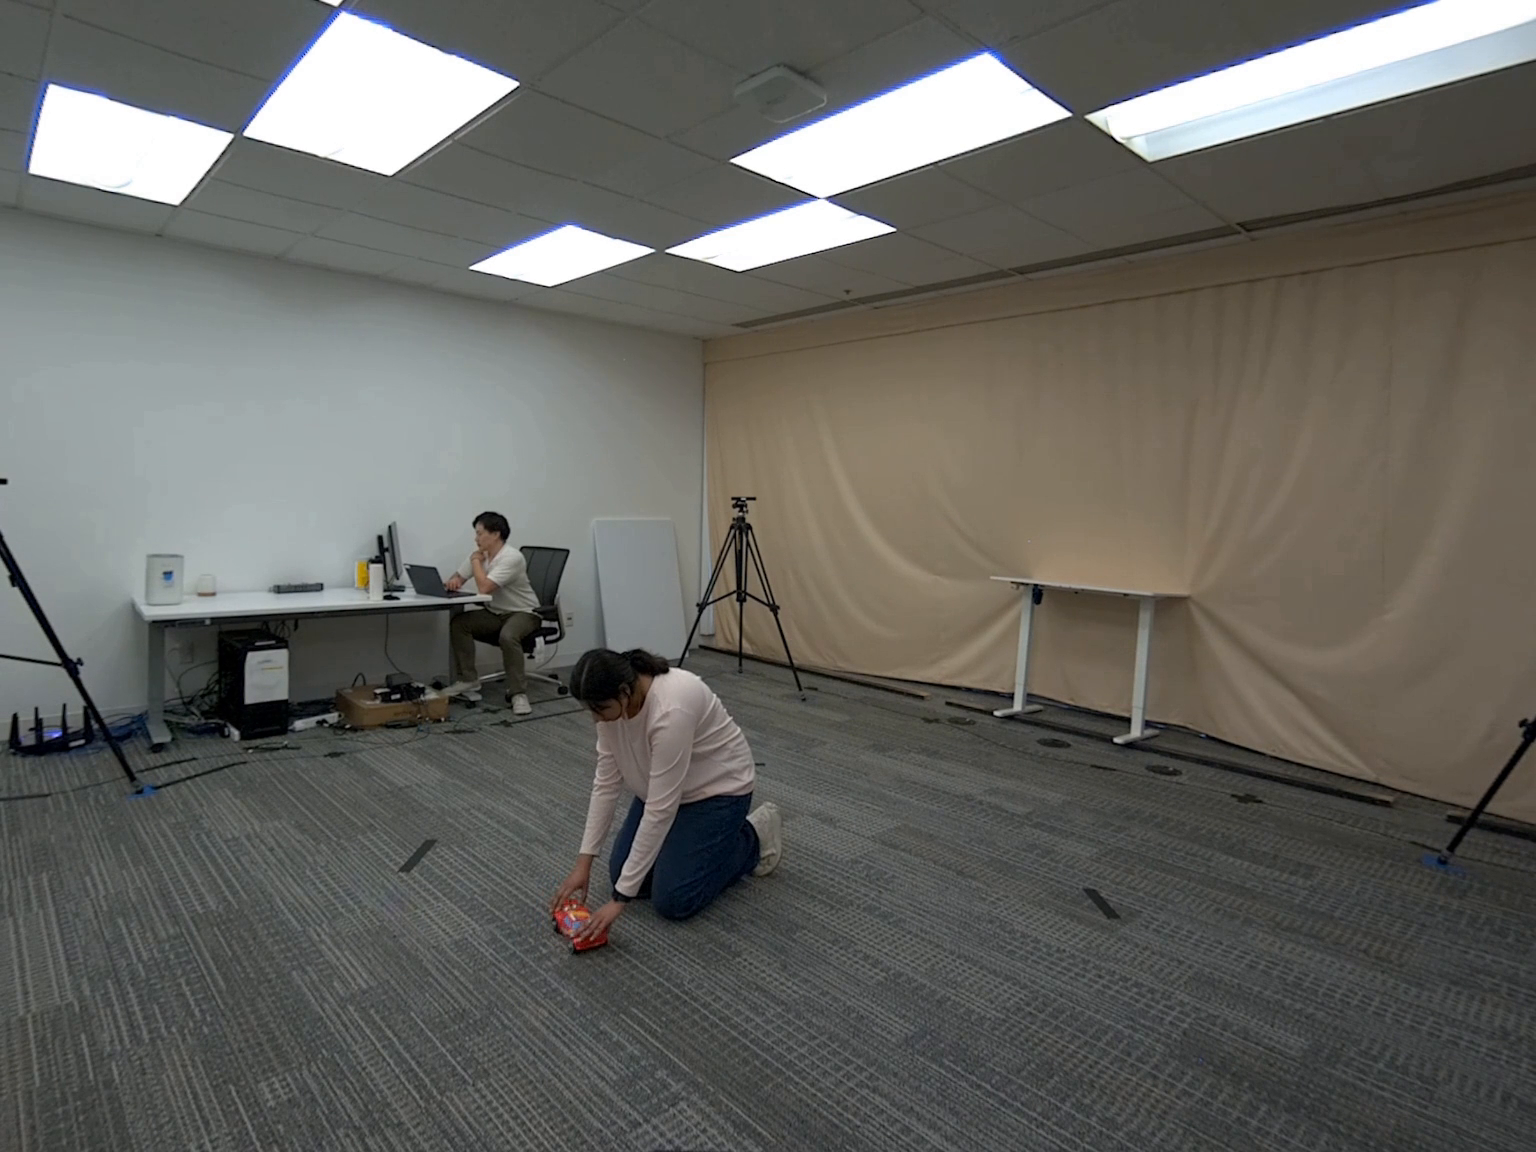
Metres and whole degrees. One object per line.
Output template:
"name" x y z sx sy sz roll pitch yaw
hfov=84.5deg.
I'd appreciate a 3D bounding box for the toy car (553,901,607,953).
"toy car" -0.608 1.105 2.659 0.128 0.082 0.262 -1 17 -30
